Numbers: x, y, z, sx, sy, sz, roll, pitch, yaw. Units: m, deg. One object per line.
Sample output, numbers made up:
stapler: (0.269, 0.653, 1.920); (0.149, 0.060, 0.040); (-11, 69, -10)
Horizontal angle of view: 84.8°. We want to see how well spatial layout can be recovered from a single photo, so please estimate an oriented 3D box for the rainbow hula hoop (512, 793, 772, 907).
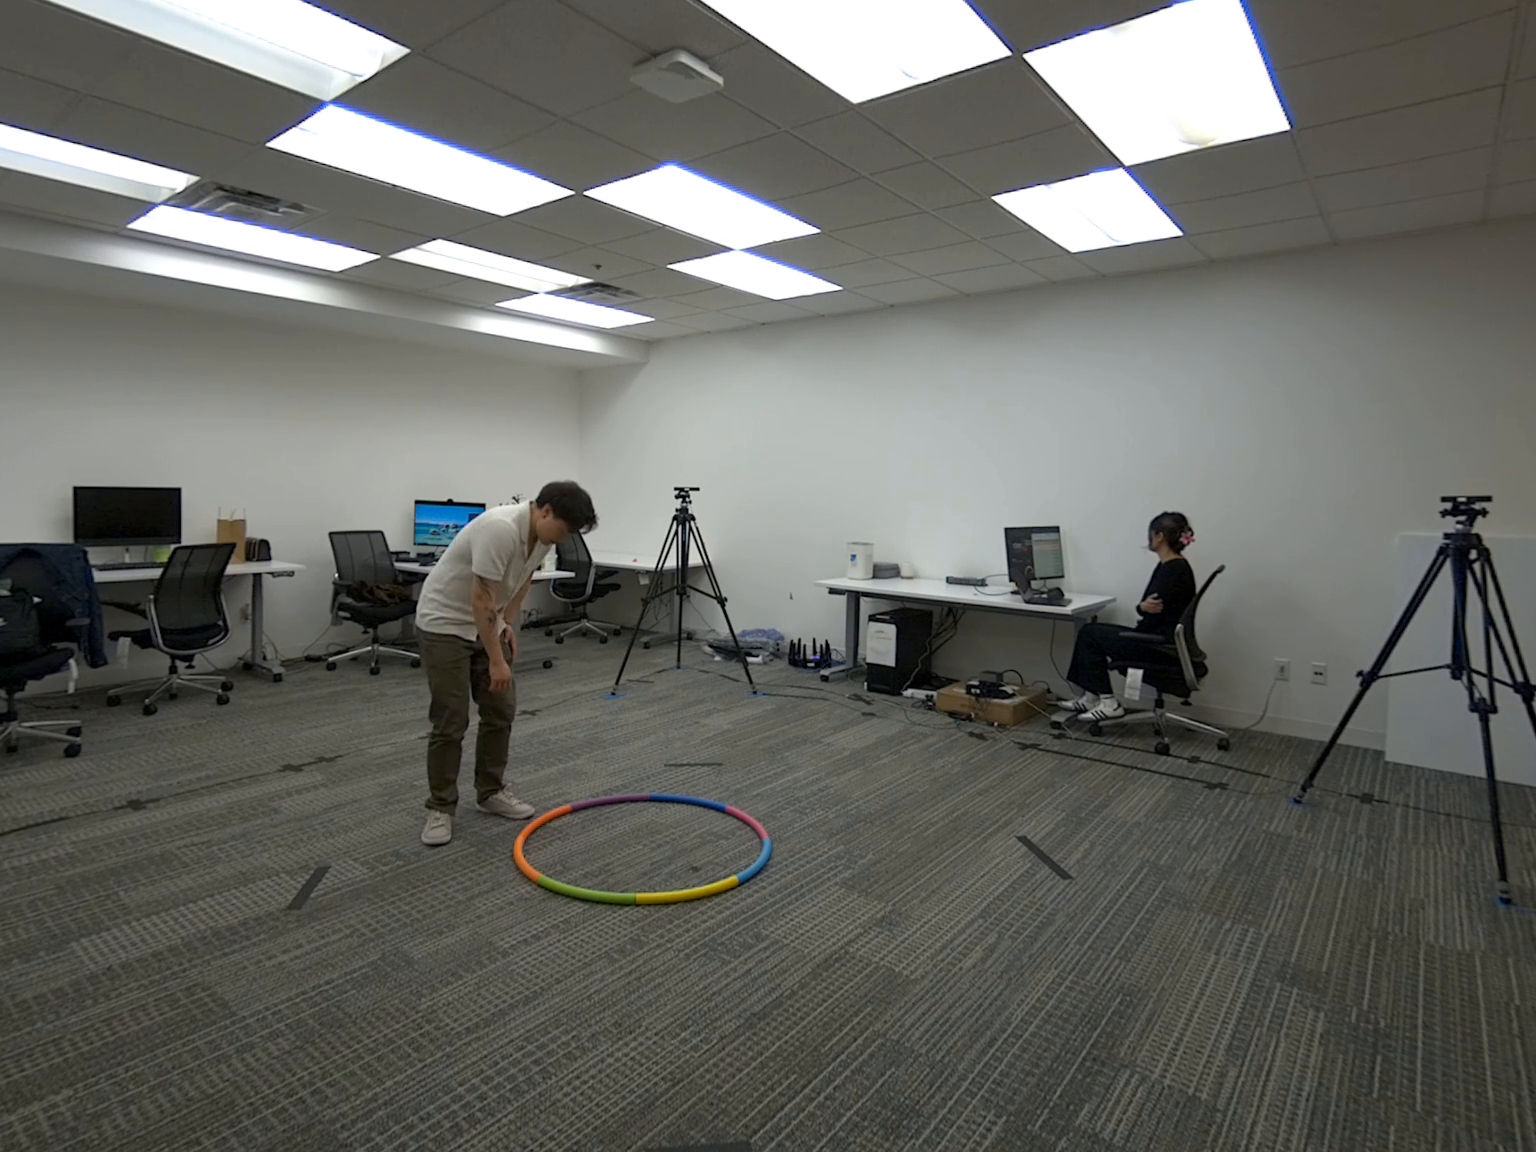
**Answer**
rainbow hula hoop: (-0.489, 1.011, 3.299); (0.978, 0.035, 0.984); (1, 5, -2)
